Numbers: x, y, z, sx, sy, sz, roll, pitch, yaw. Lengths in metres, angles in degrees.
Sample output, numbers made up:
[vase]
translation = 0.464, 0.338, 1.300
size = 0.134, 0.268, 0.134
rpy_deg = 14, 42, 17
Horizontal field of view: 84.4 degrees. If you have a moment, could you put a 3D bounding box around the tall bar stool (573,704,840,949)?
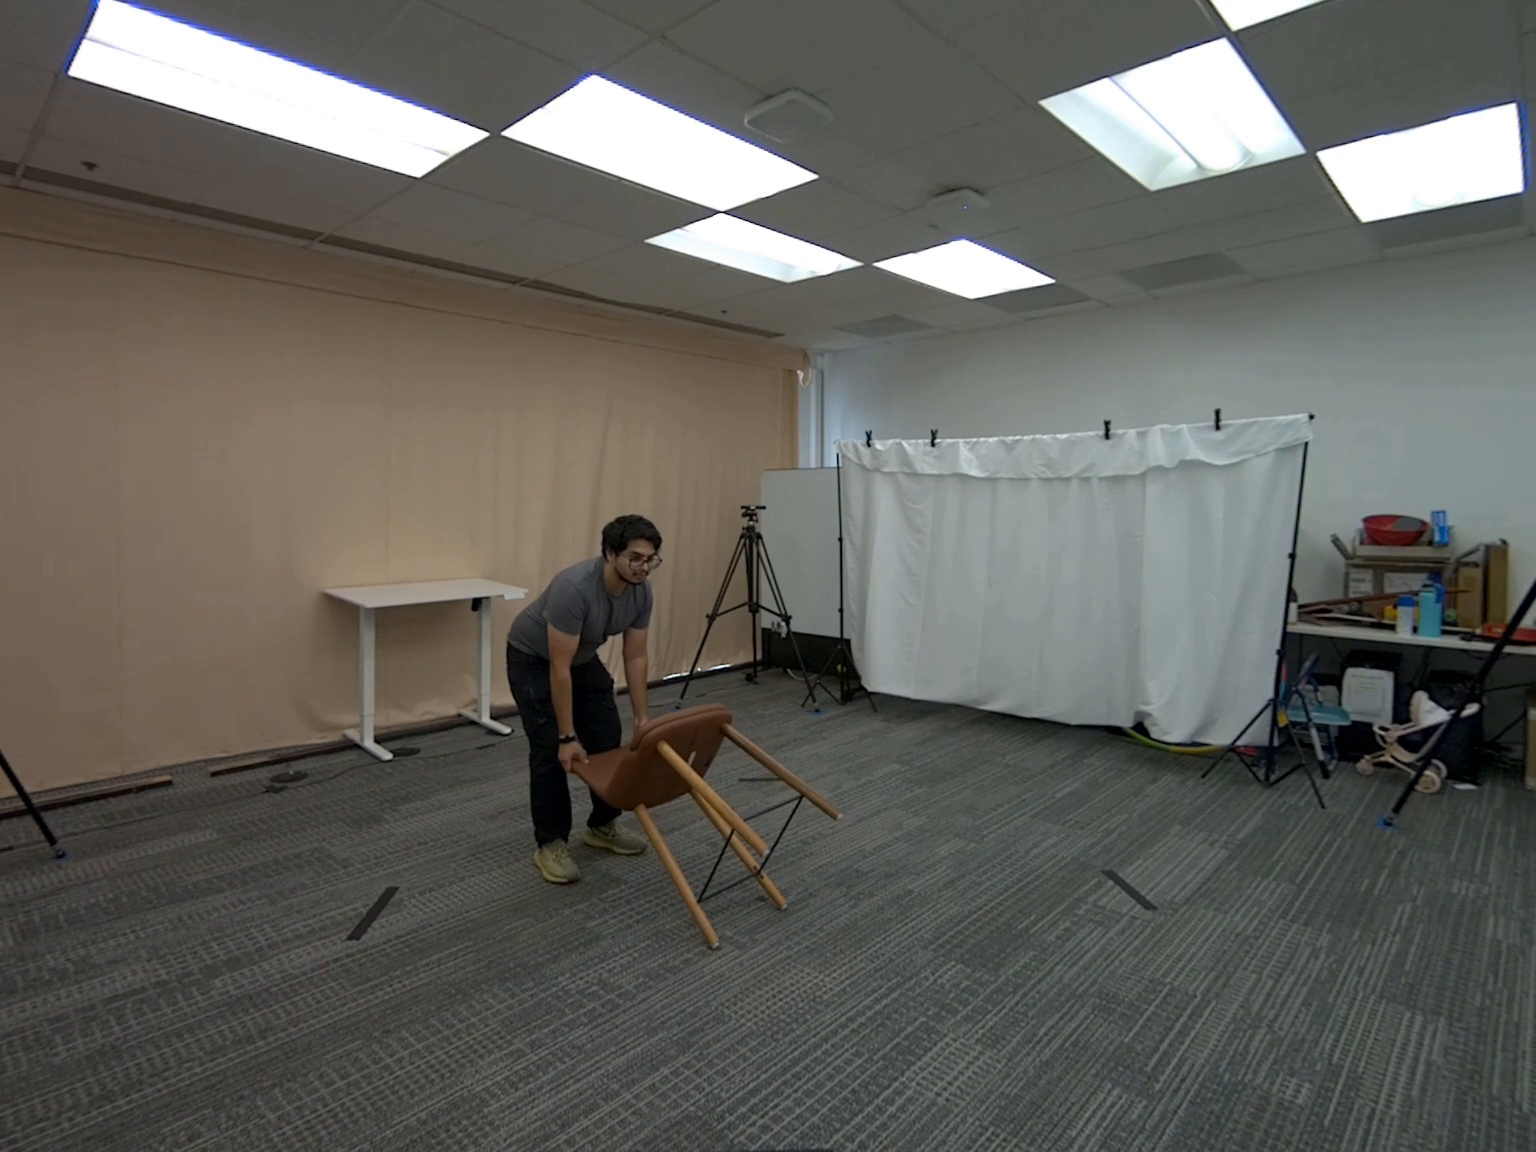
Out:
[tall bar stool]
translation = -0.258, 0.739, 2.936
size = 0.920, 0.466, 0.442
rpy_deg = 38, 26, 33
